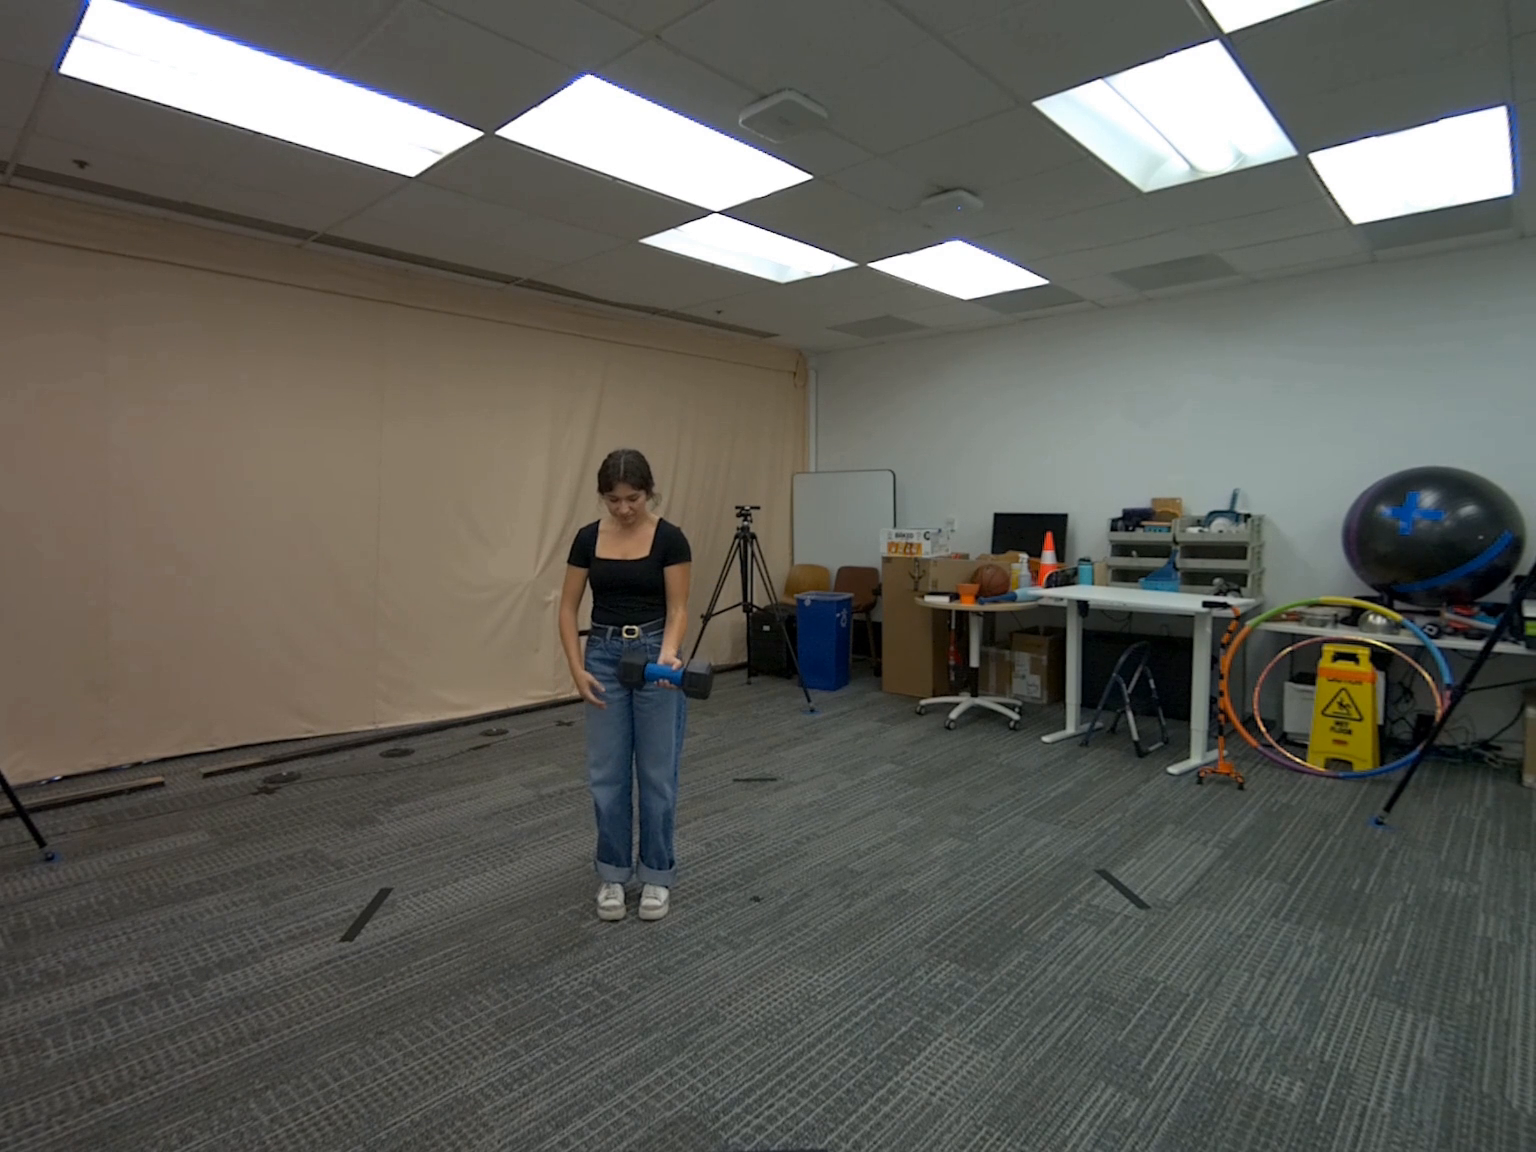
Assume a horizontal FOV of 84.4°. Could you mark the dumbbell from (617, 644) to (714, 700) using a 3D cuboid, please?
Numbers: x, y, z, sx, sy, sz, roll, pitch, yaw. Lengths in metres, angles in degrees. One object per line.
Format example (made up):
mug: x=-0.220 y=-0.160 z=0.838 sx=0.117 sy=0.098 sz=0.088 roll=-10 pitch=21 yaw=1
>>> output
dumbbell: x=-0.322 y=0.300 z=2.646 sx=0.298 sy=0.107 sz=0.123 roll=7 pitch=30 yaw=14
